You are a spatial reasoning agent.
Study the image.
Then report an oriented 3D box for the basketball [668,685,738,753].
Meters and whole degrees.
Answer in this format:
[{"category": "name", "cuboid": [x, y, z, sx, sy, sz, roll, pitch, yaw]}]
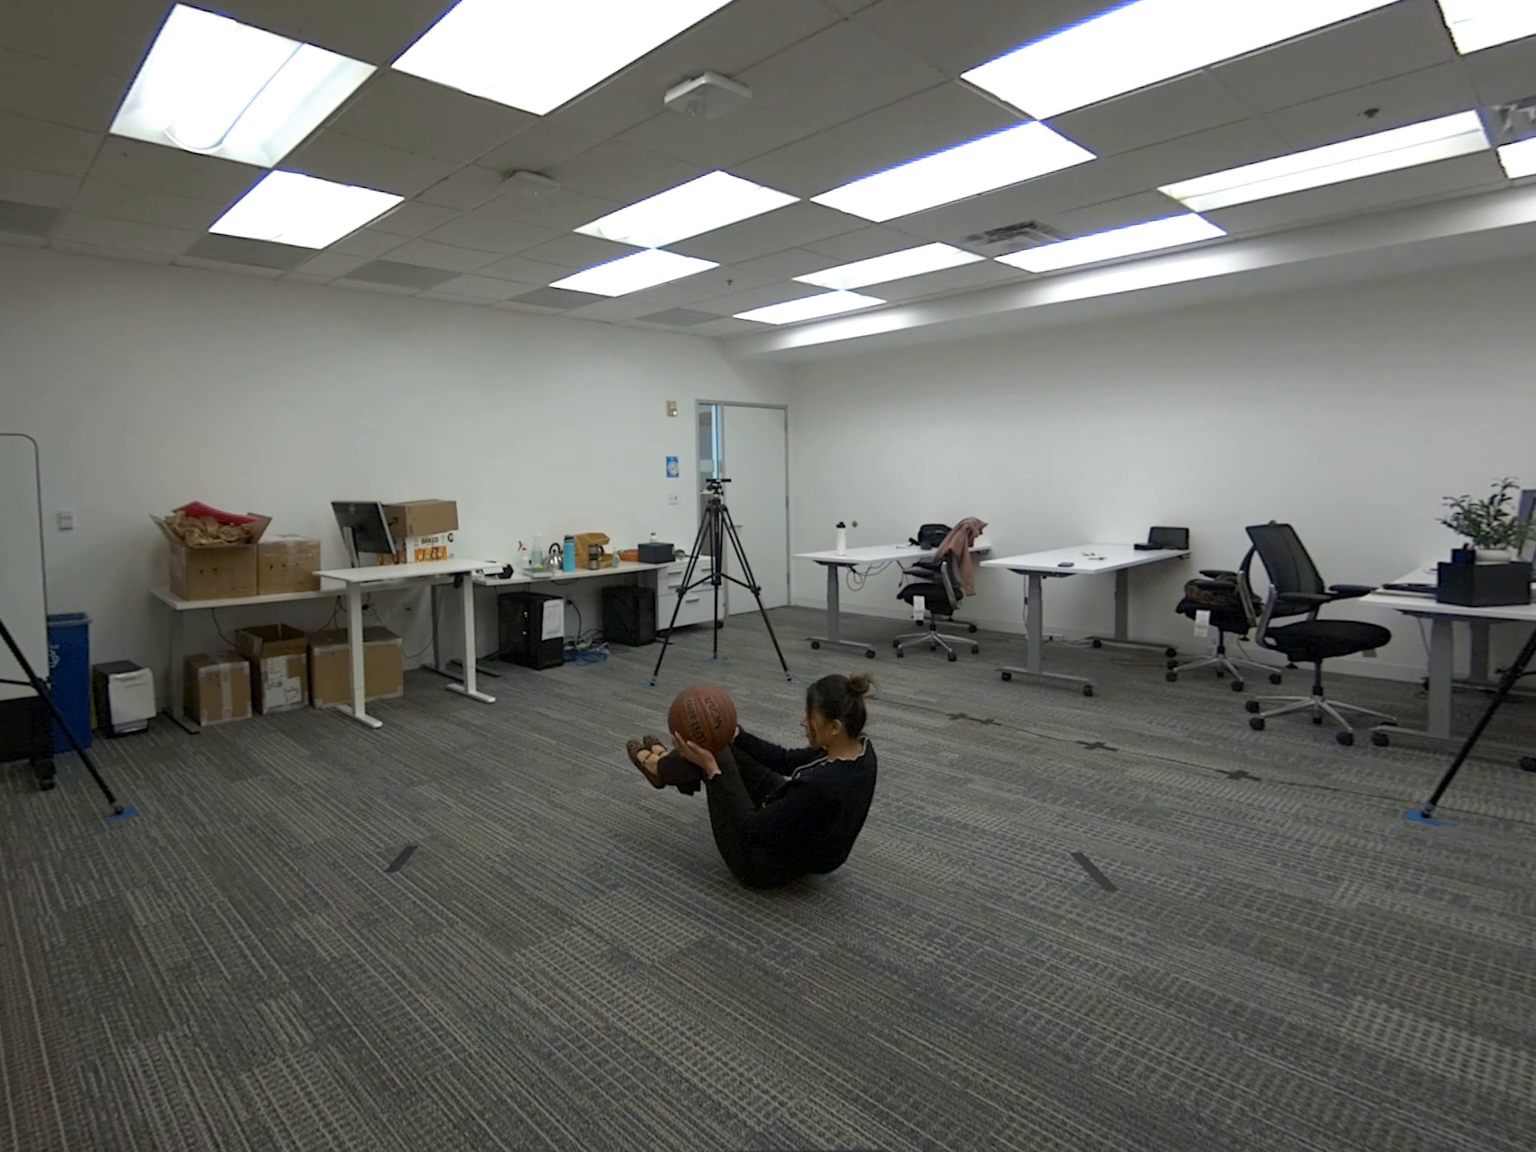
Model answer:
[{"category": "basketball", "cuboid": [-0.209, 0.493, 2.912, 0.236, 0.235, 0.237, -1, 5, -2]}]
